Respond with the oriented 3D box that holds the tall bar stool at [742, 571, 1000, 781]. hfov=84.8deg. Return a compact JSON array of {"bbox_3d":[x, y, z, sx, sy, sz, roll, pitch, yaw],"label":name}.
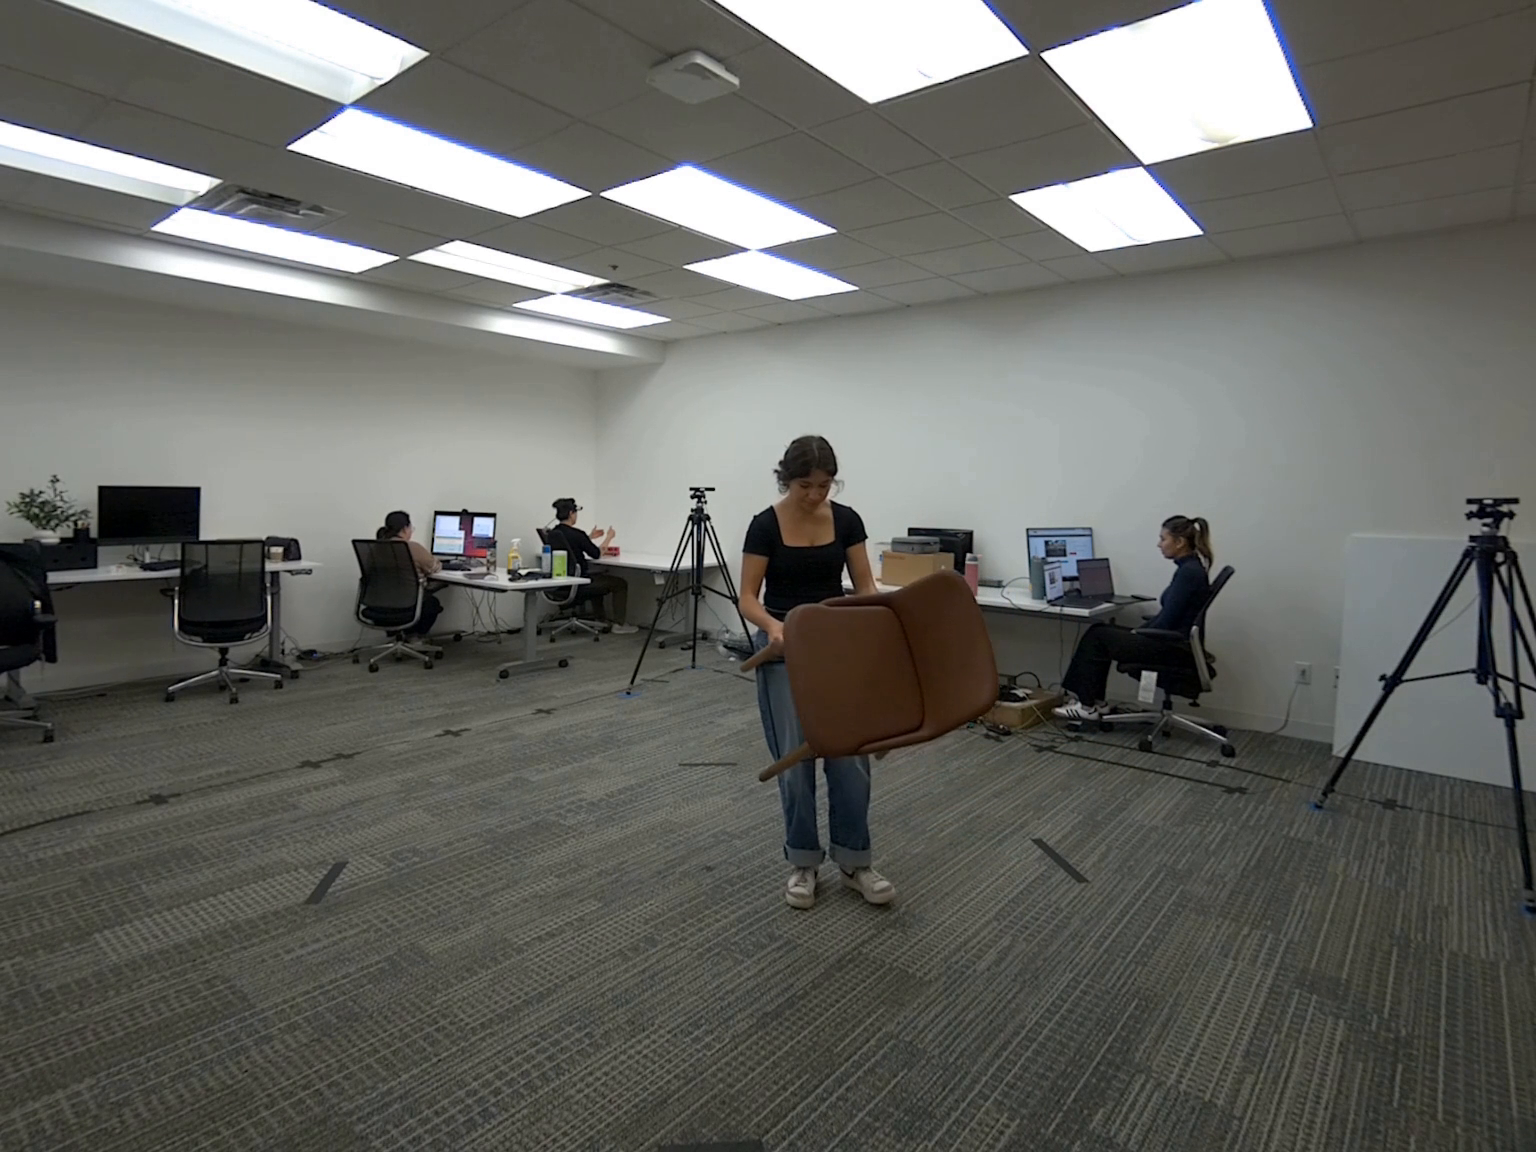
[{"bbox_3d":[0.243,0.330,2.593,0.460,0.467,0.883,-4,-21,-17],"label":"tall bar stool"}]
